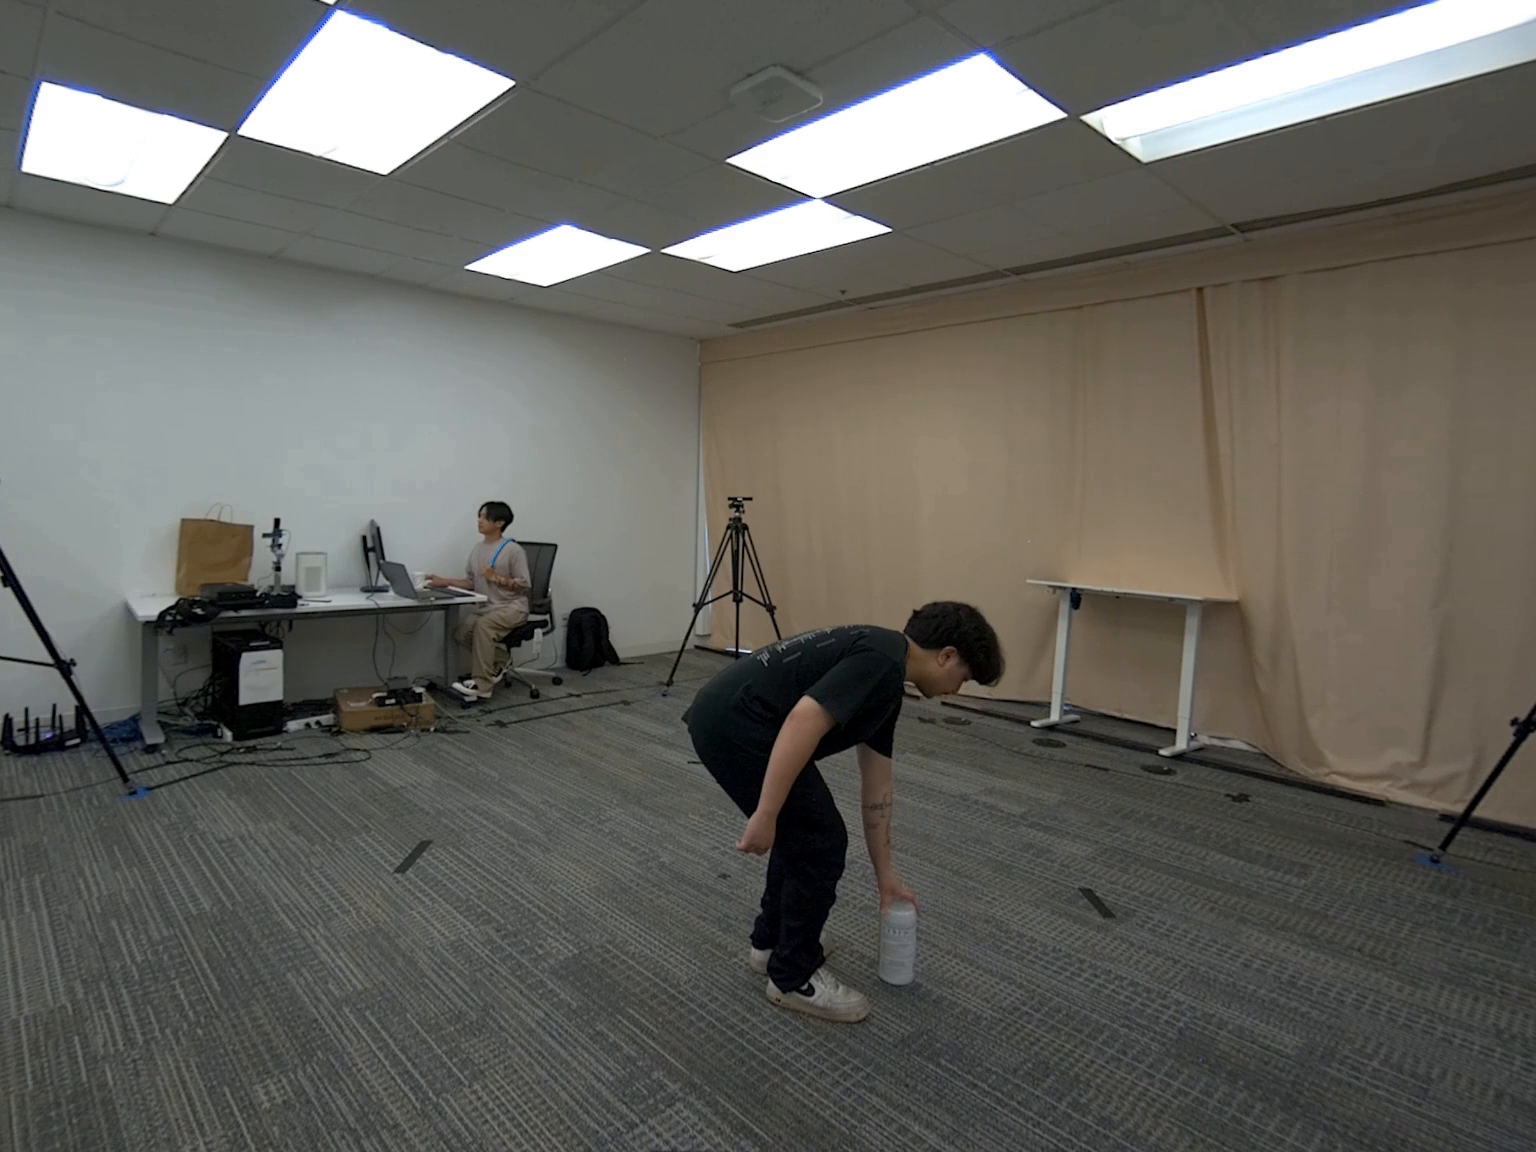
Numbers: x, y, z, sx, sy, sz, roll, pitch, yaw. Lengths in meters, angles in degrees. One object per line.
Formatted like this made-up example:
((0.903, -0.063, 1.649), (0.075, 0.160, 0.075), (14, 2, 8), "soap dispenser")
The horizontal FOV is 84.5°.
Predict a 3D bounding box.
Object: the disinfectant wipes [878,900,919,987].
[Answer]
((0.363, 1.080, 2.467), (0.118, 0.217, 0.118), (1, 5, -1), "disinfectant wipes")
